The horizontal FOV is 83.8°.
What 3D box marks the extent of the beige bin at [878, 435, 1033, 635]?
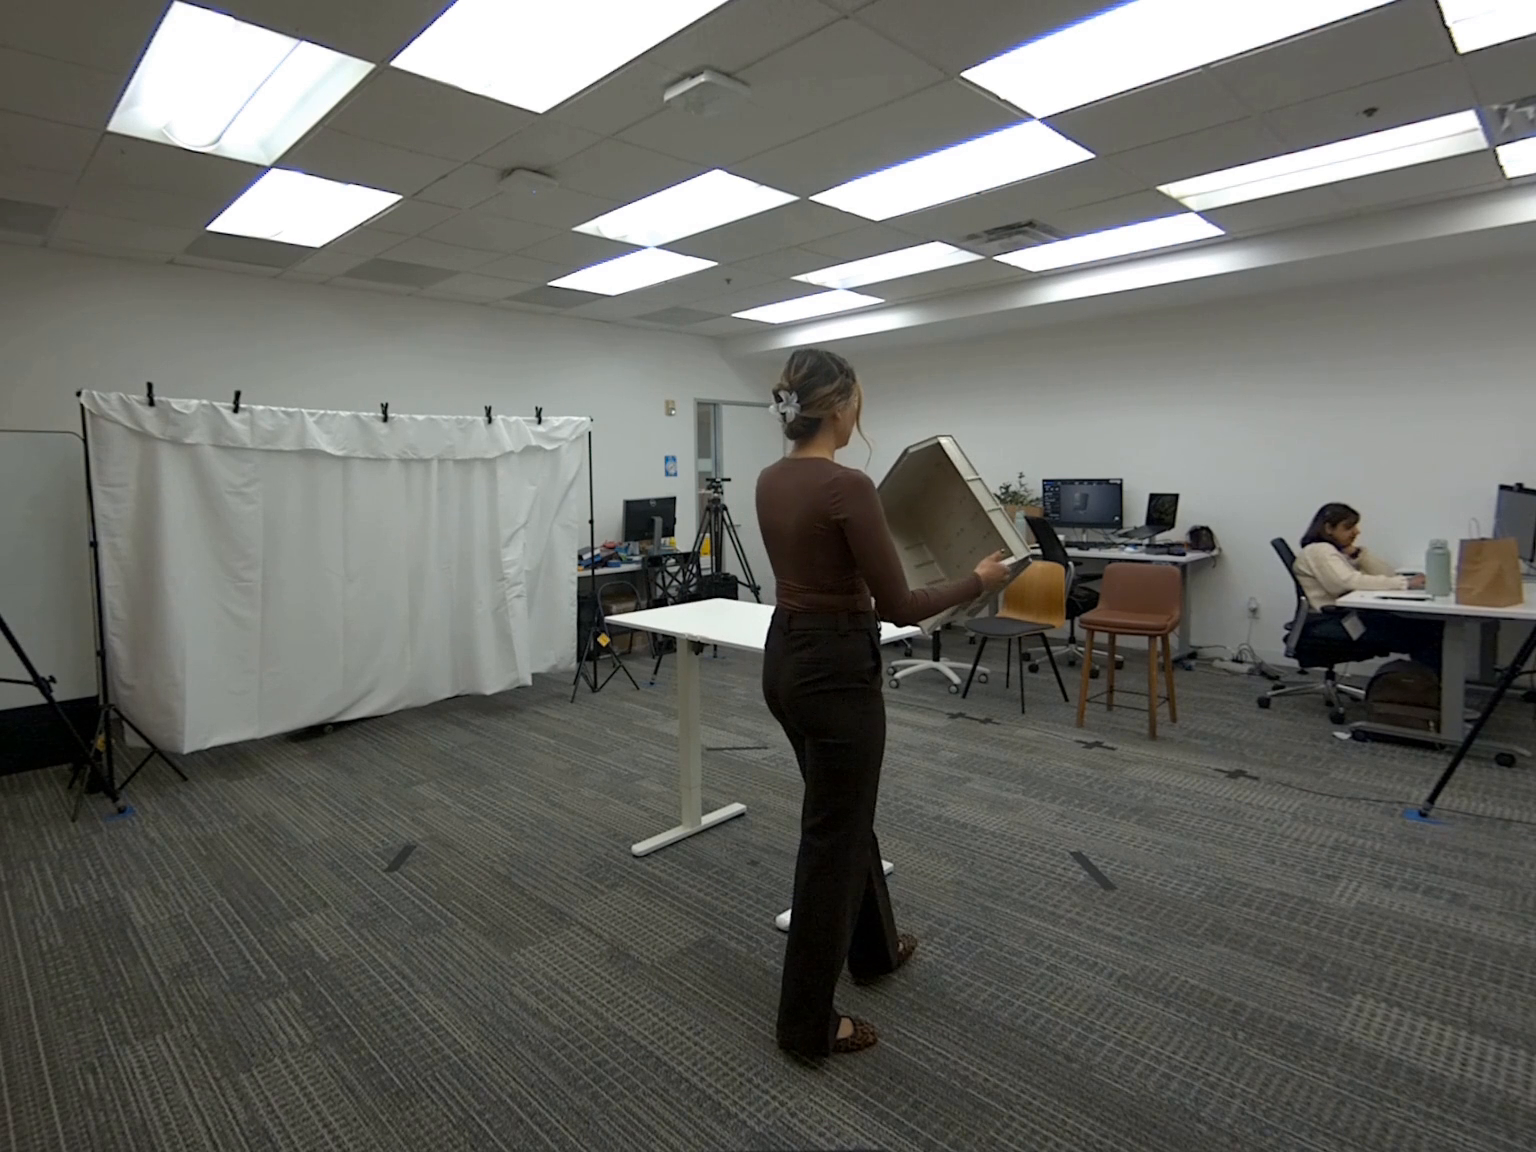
[{"bbox_3d":[0.489,-0.116,2.405,0.185,0.434,0.374,-12,-27,-28],"label":"beige bin"}]
